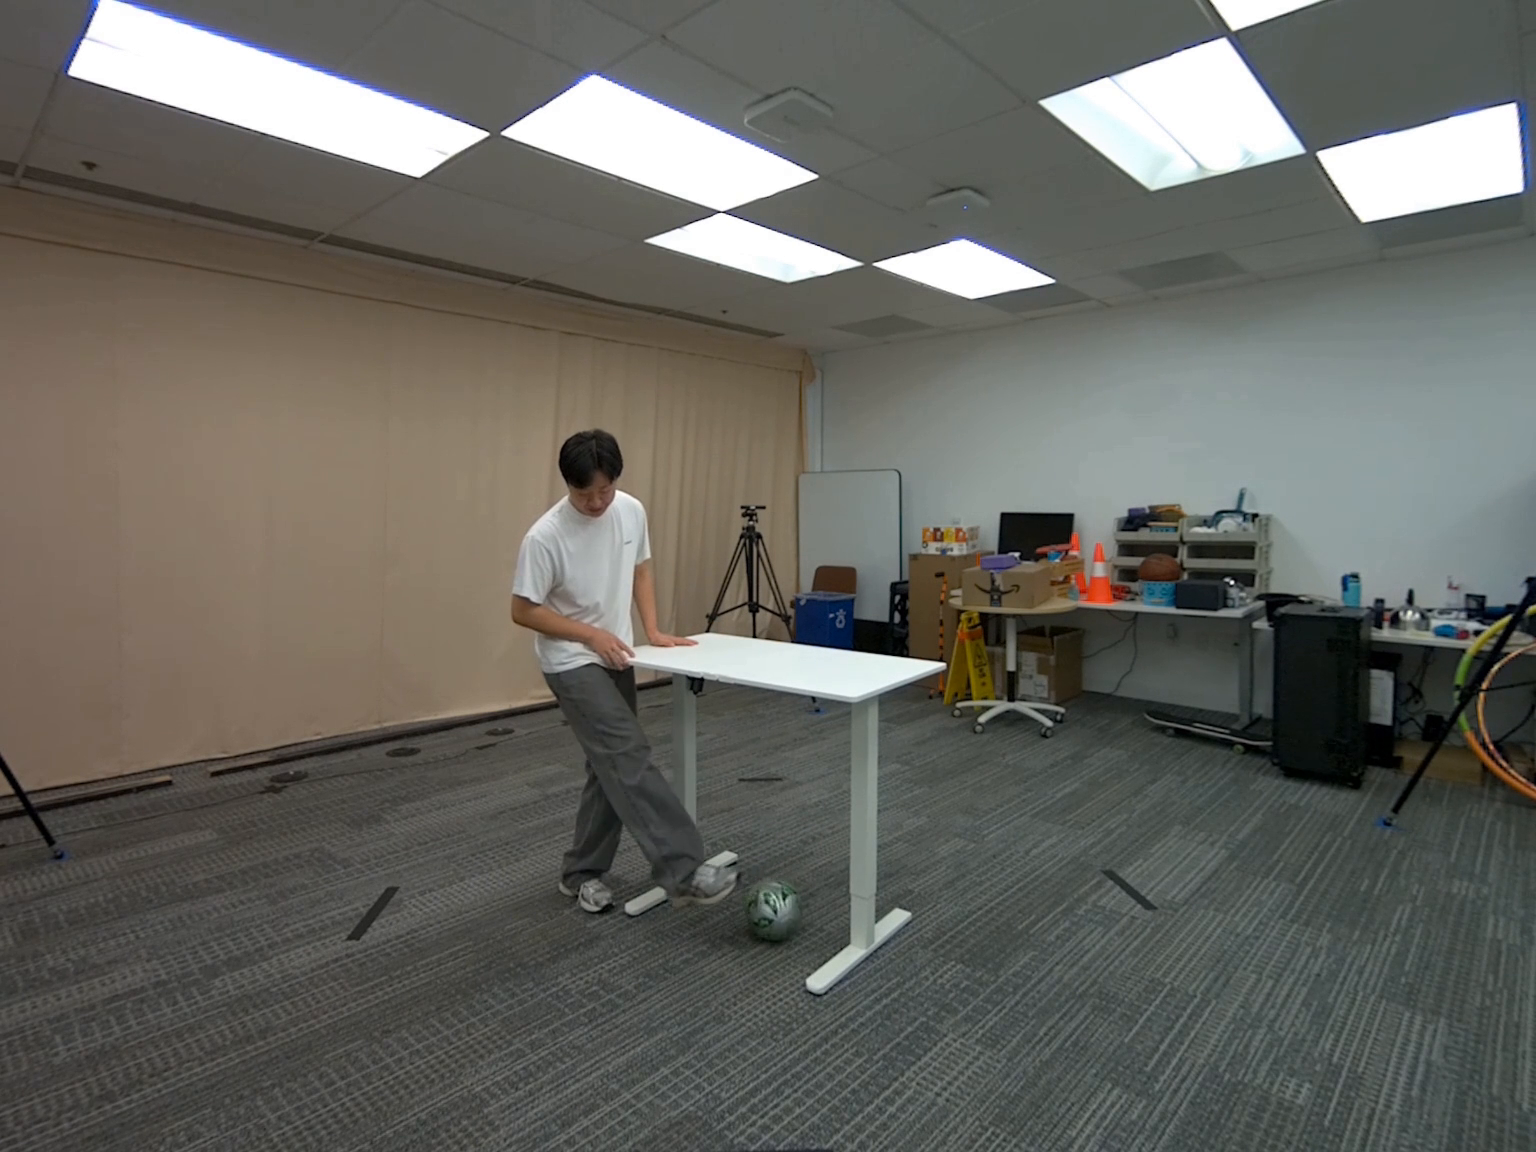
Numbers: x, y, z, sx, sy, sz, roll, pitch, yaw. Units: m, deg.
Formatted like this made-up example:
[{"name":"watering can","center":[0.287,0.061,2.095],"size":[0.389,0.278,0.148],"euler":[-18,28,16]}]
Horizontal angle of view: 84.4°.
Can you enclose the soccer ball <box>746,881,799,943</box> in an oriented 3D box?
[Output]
[{"name":"soccer ball","center":[0.021,1.077,2.712],"size":[0.187,0.187,0.188],"euler":[0,4,-2]}]
